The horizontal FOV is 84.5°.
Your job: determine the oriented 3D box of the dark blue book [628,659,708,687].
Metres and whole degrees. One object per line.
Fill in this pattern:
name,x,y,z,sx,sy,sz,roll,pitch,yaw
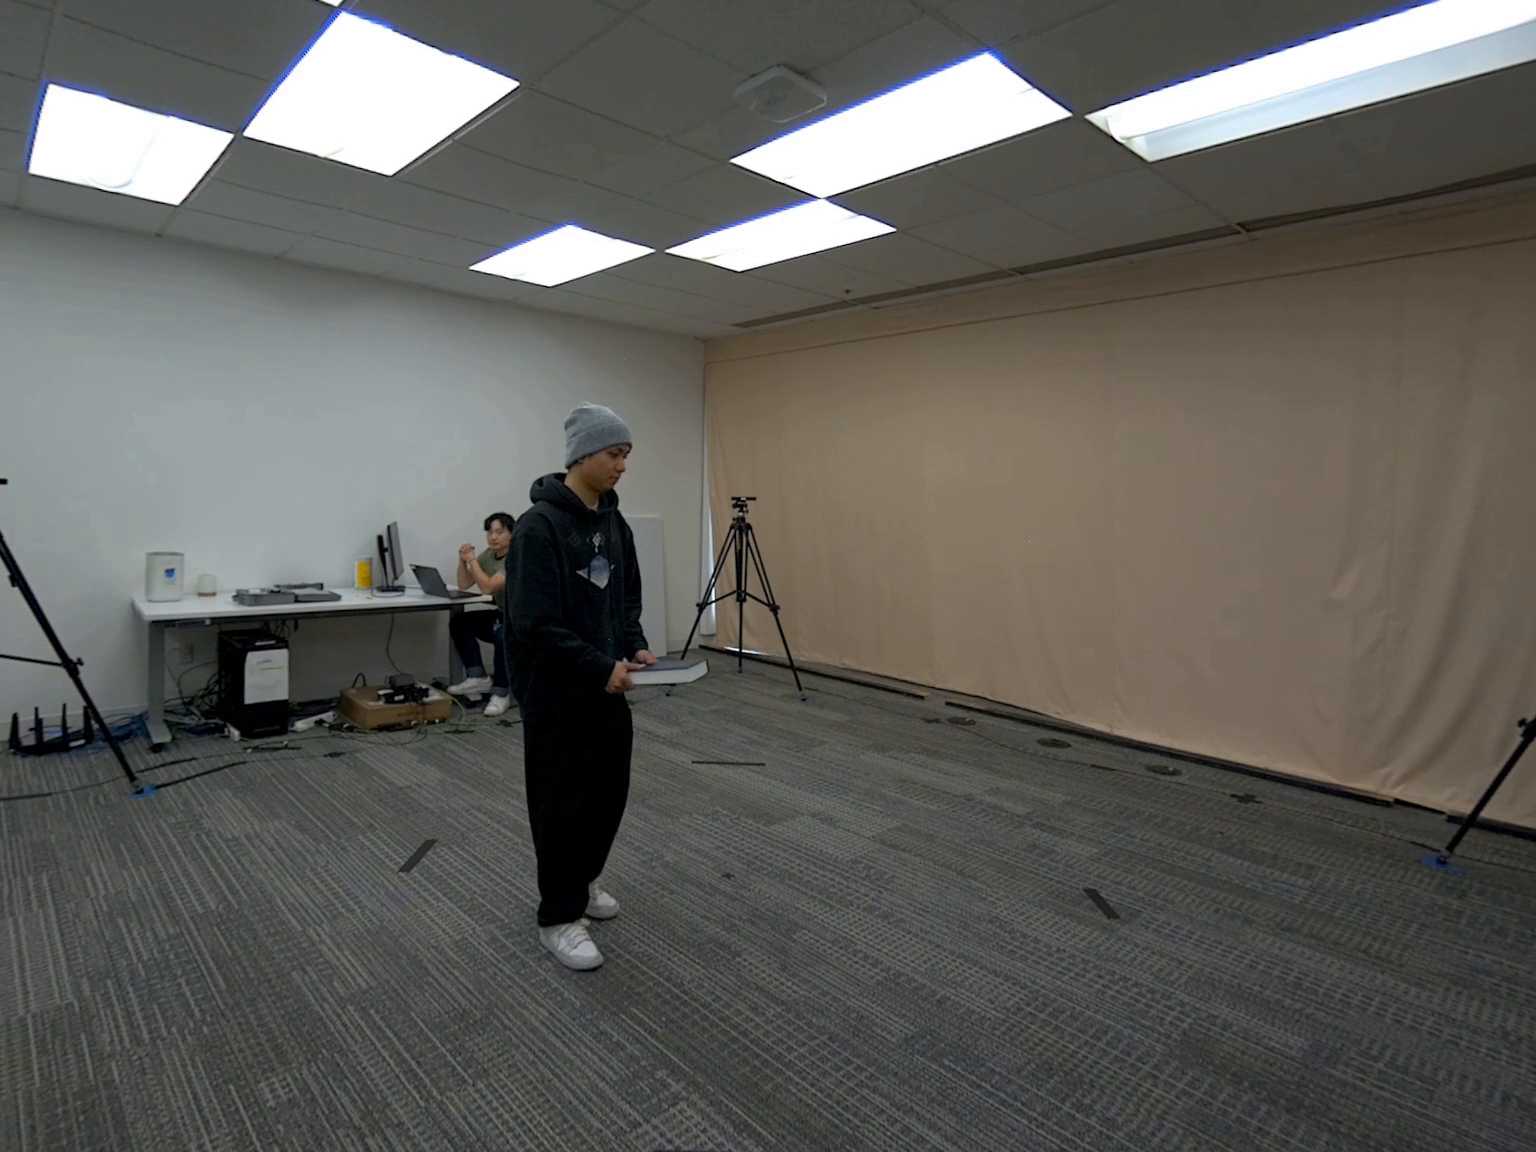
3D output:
dark blue book,-0.324,0.291,2.419,0.247,0.045,0.162,-5,3,9
